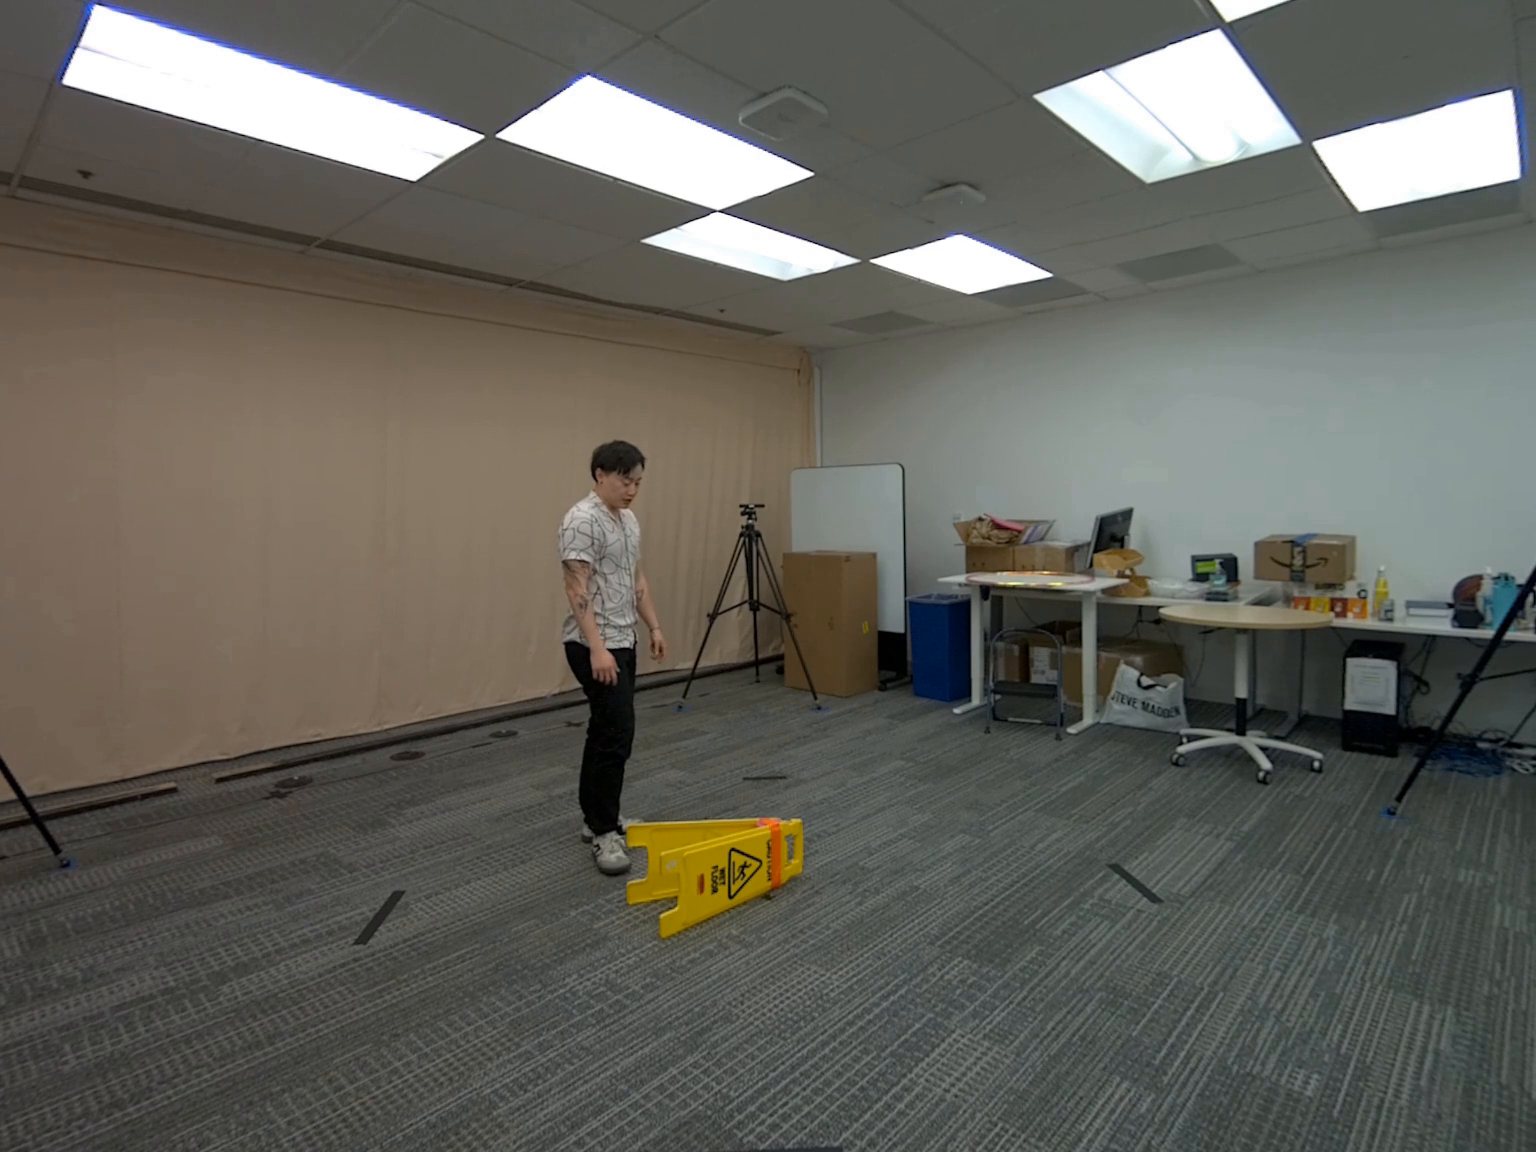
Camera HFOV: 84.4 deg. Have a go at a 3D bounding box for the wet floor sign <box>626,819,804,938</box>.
[{"bbox_3d":[-0.147,1.010,2.985,0.629,0.282,0.298,-2,4,-30],"label":"wet floor sign"}]
